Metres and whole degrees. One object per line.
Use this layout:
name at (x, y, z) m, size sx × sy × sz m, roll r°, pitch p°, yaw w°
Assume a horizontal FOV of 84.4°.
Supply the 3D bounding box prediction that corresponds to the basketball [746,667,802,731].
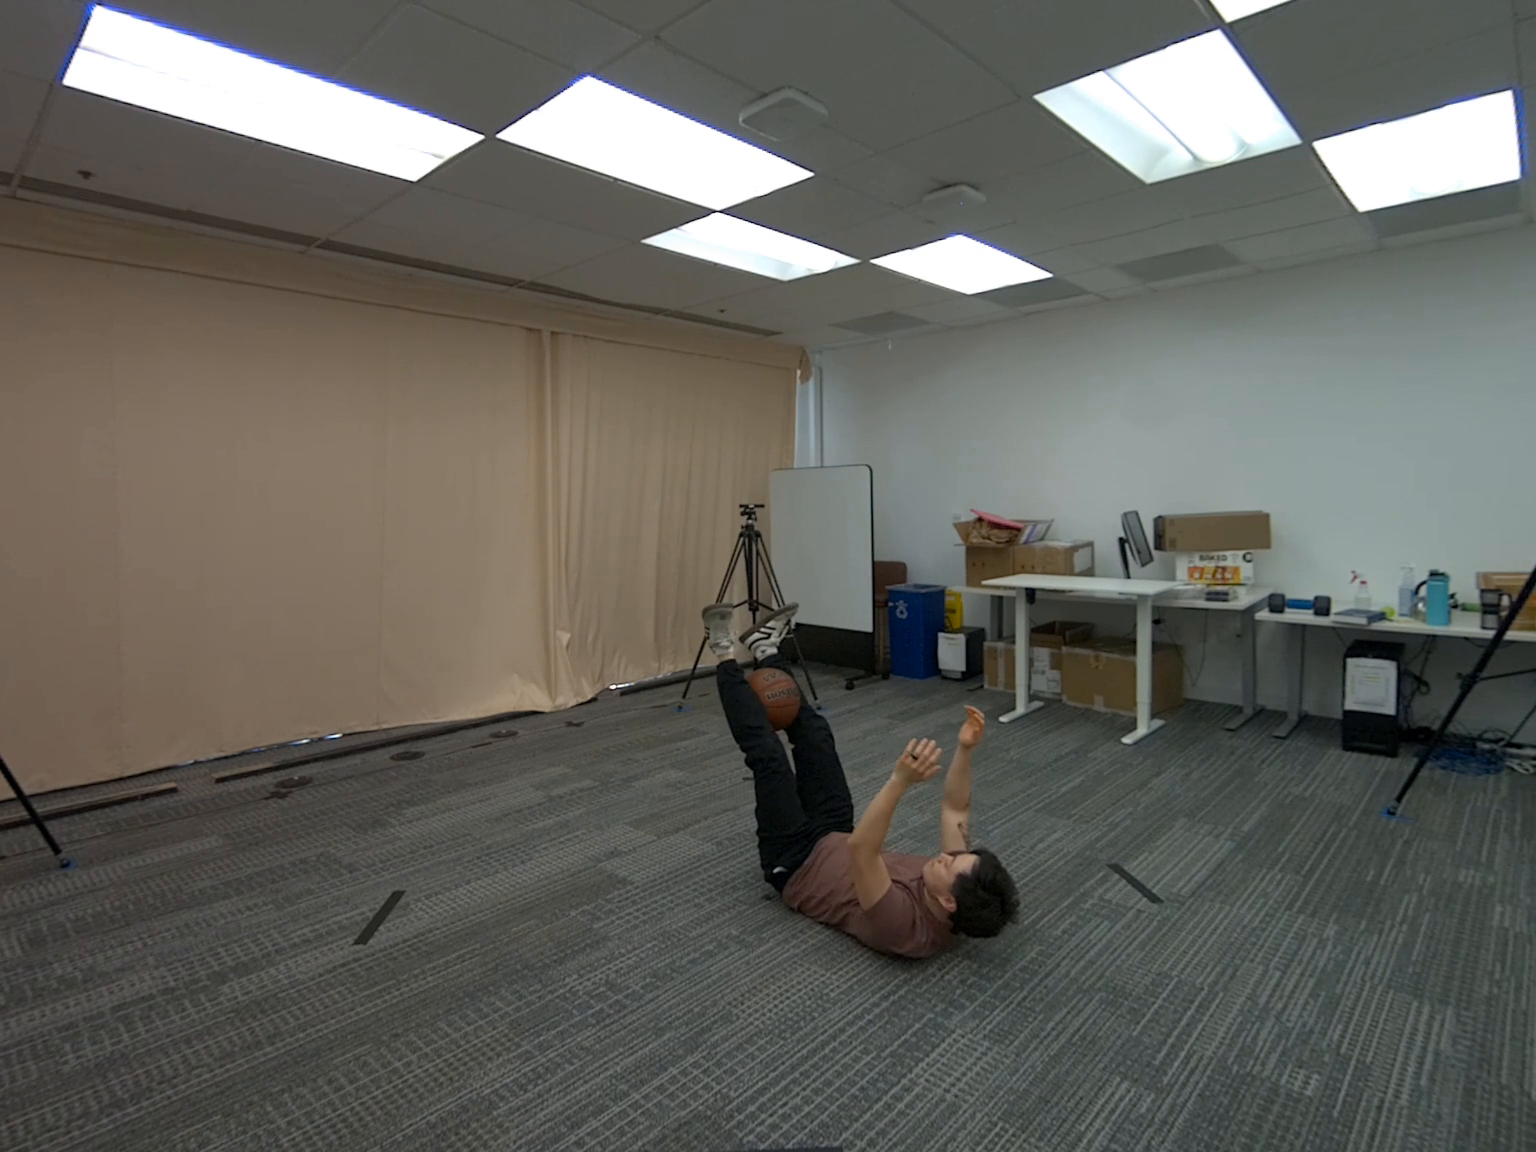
basketball at (0.001, 0.469, 3.141) m, size 0.236 × 0.235 × 0.236 m, roll -1°, pitch 3°, yaw -2°
